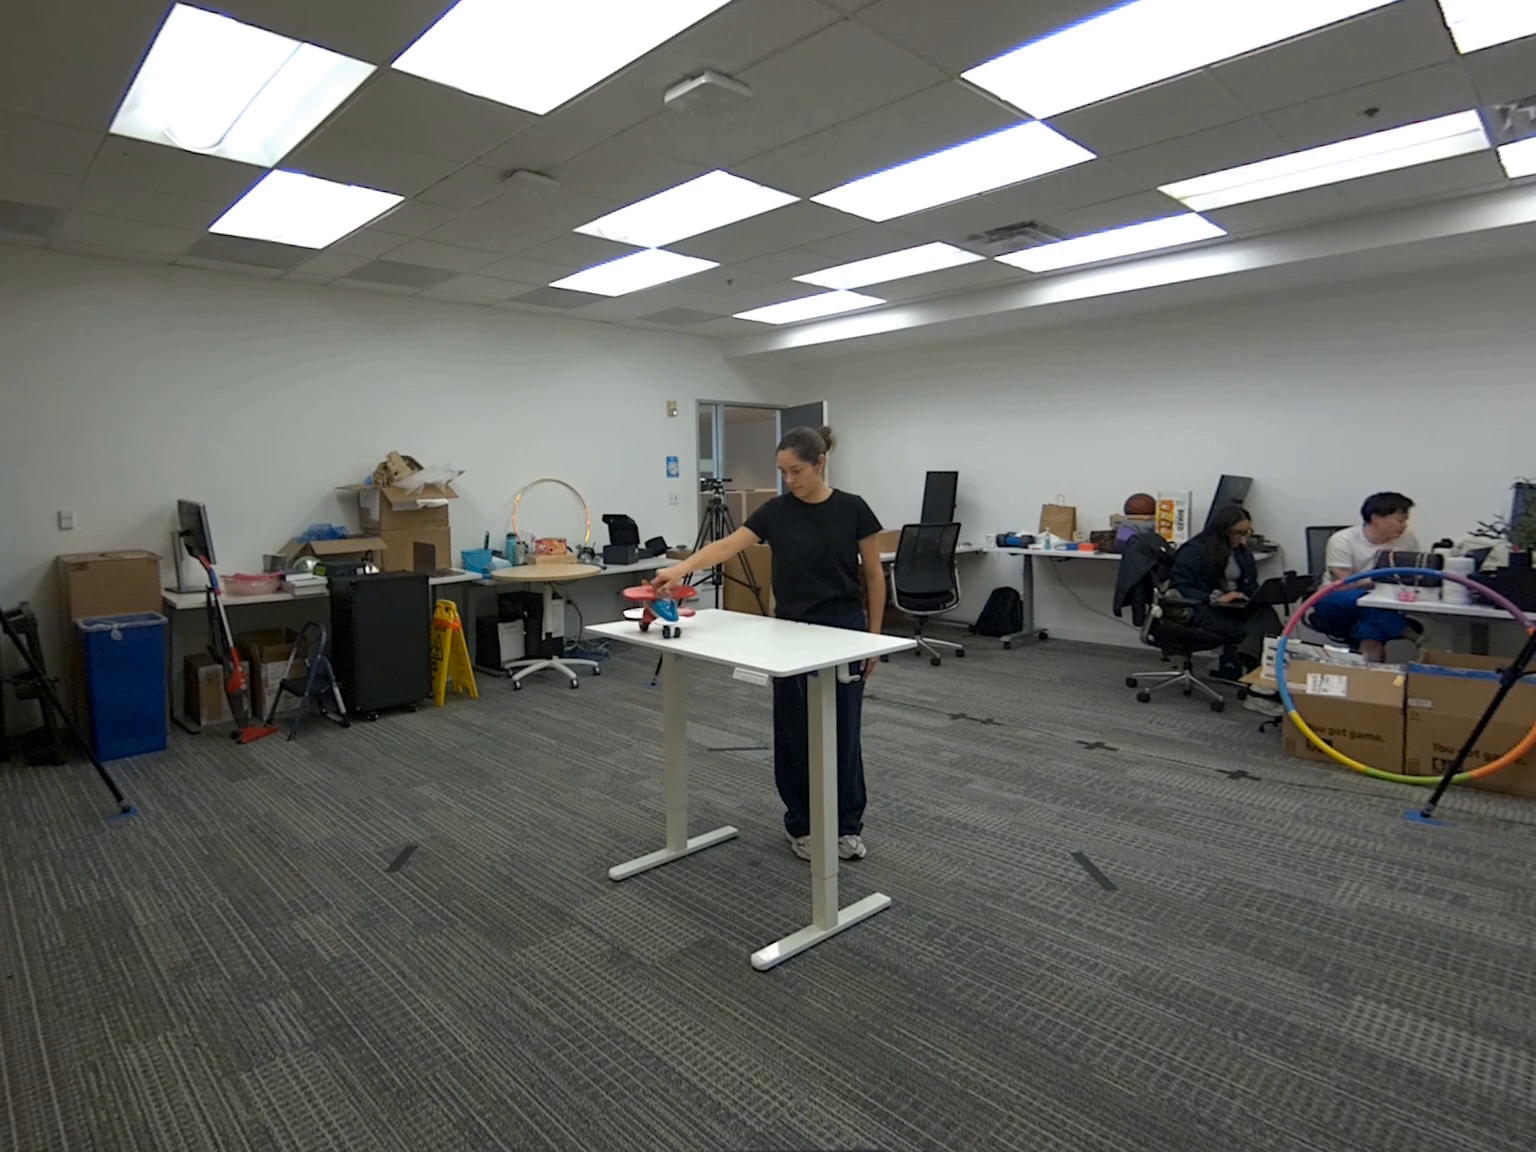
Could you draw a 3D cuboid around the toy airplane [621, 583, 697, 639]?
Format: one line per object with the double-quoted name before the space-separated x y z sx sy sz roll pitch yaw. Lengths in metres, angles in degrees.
"toy airplane" -0.339 0.117 2.893 0.267 0.156 0.245 3 7 39
